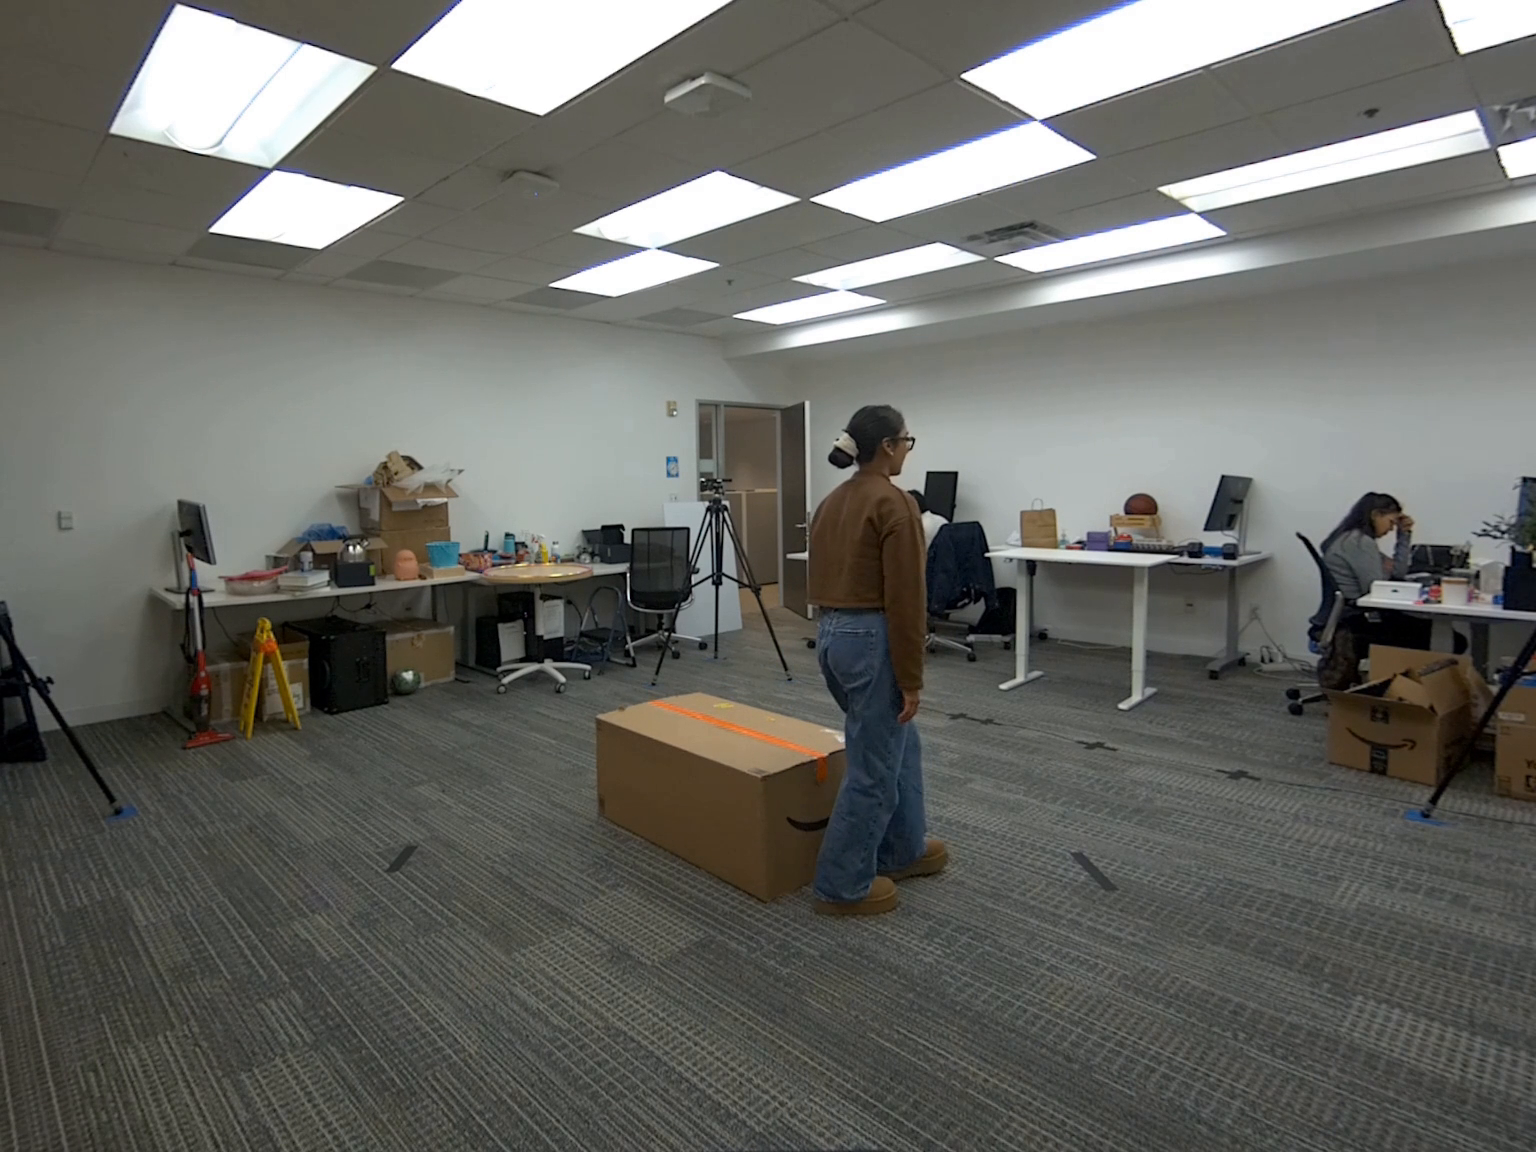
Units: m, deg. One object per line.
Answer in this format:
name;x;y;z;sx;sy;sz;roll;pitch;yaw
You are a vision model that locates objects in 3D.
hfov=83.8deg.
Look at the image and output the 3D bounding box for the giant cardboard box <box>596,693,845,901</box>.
giant cardboard box;-0.162;0.806;3.374;0.569;0.444;1.059;-7;9;-42
